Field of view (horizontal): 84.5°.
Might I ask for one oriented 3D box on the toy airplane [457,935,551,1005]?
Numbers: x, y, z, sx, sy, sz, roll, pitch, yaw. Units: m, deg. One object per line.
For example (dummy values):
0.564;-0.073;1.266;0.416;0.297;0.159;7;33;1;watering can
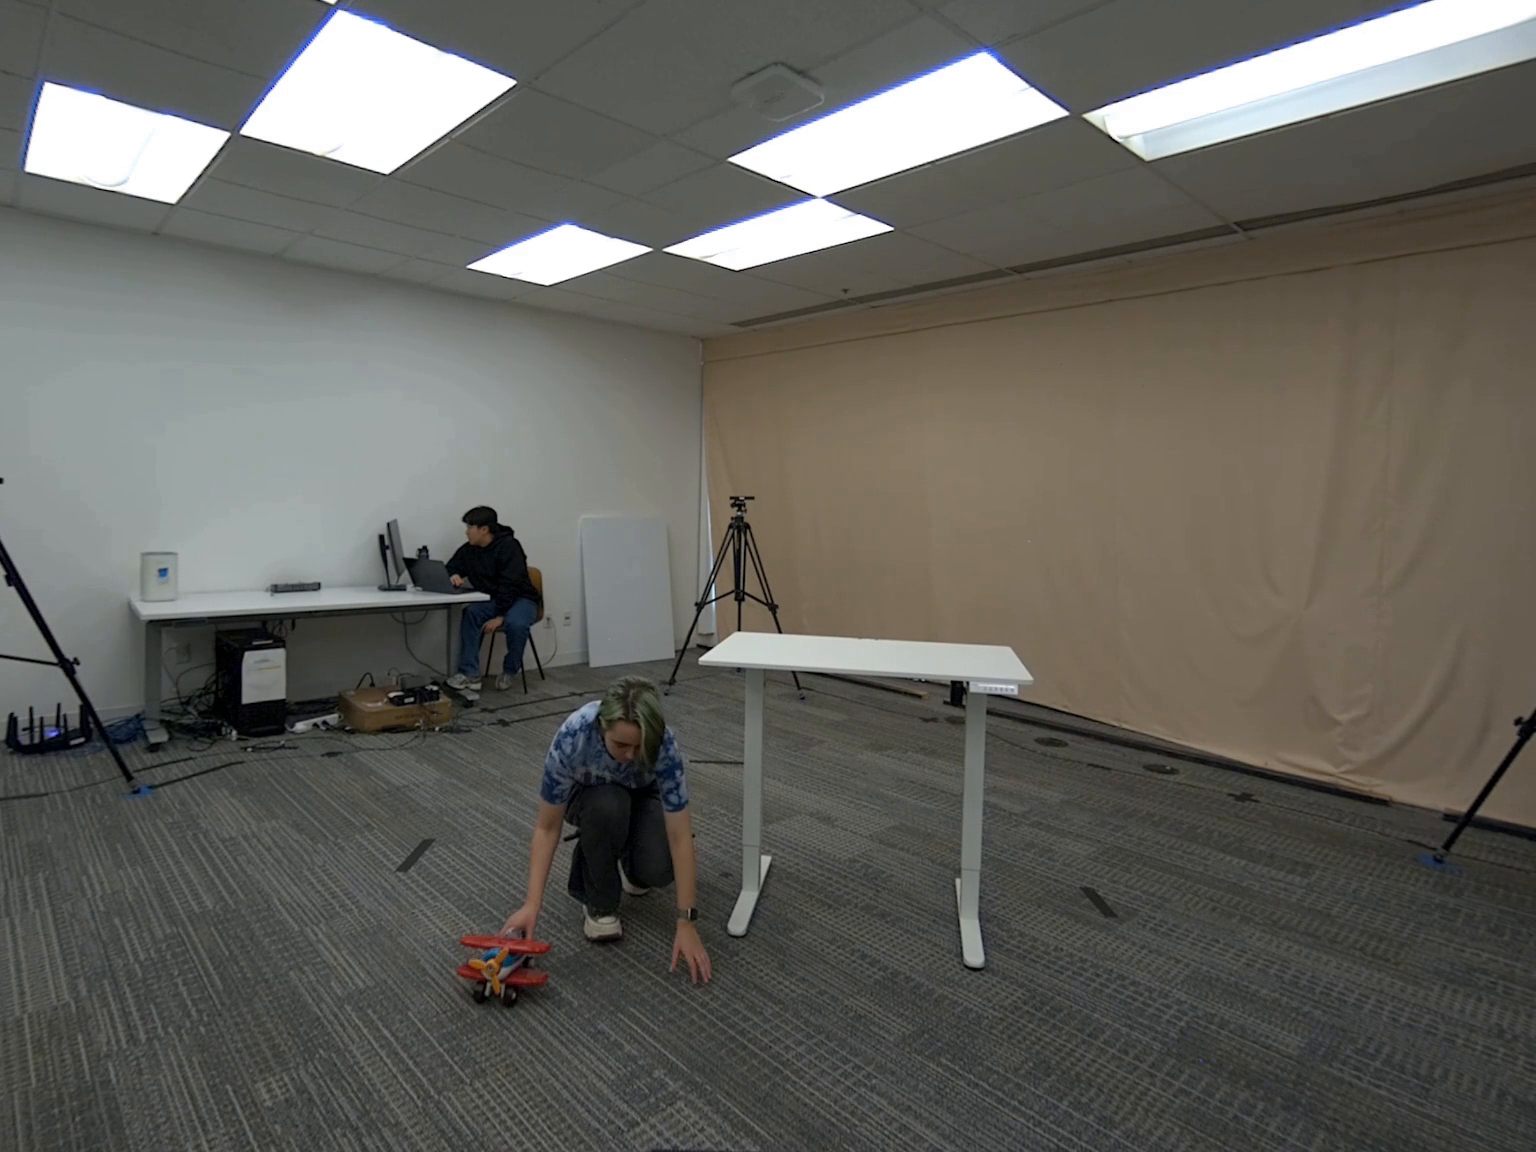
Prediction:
-0.760;1.087;2.367;0.247;0.156;0.264;0;6;-21;toy airplane
